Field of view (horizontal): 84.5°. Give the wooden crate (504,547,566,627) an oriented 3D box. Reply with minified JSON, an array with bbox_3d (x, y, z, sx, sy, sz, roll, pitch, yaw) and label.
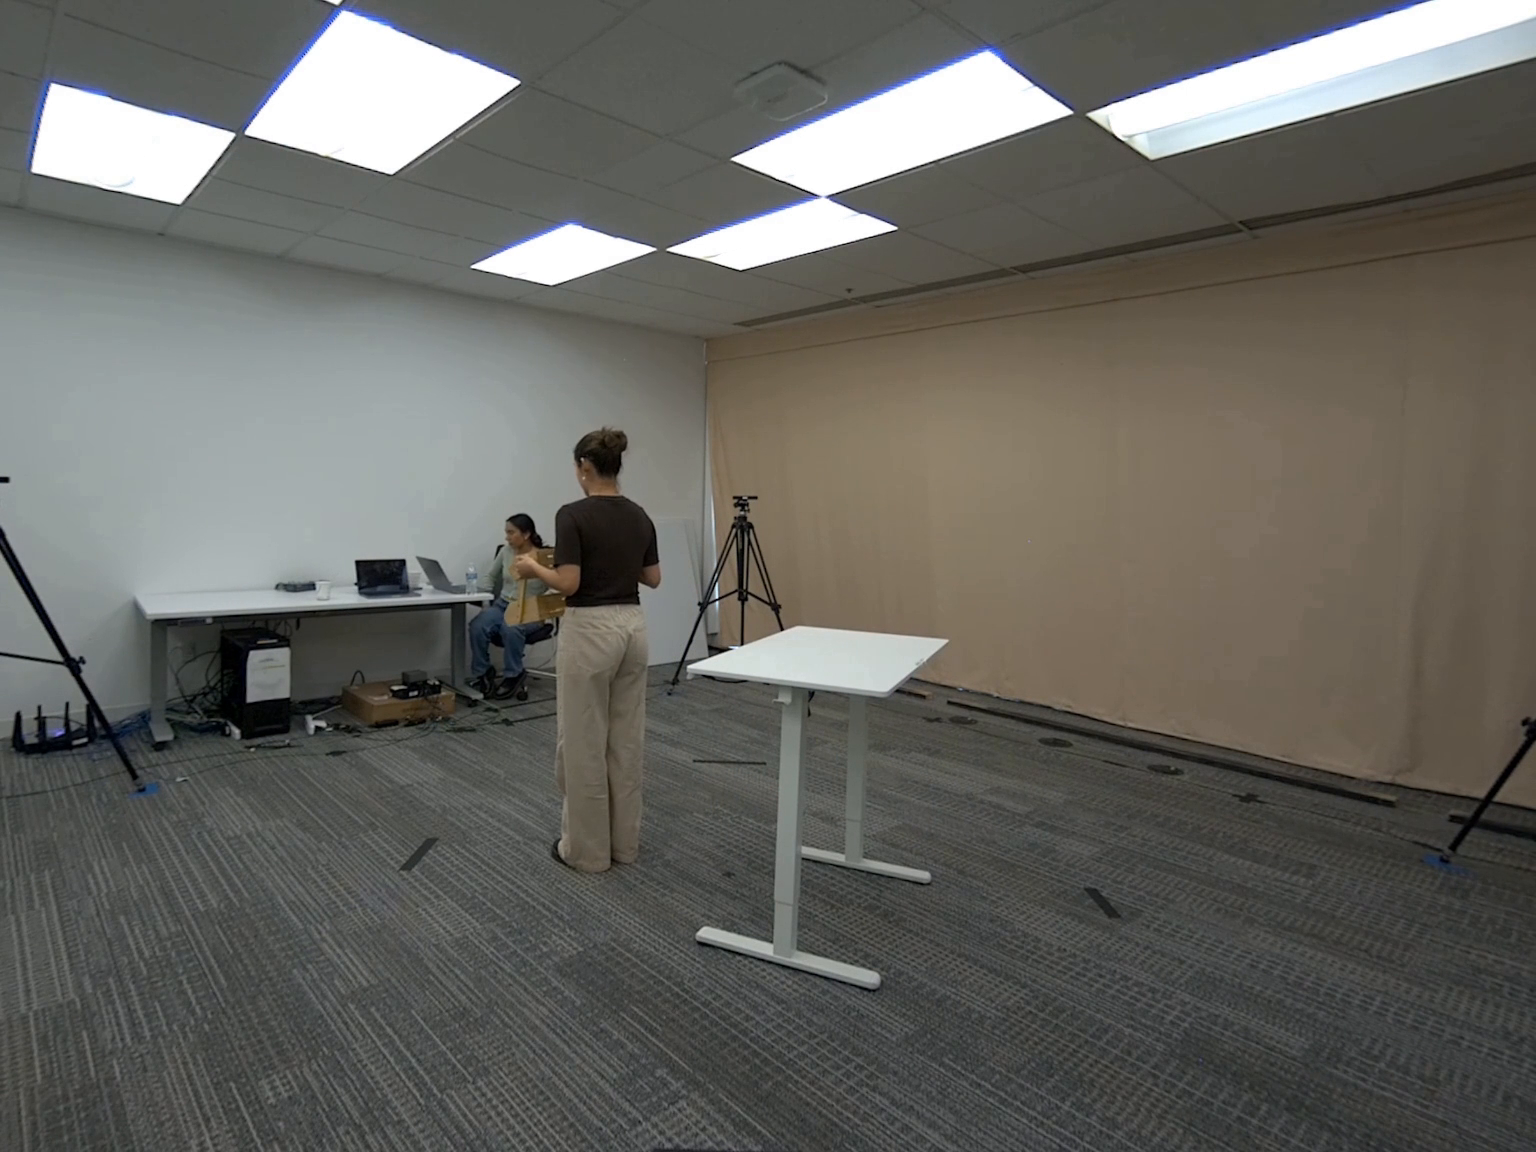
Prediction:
[{"bbox_3d":[-0.864,0.031,3.353,0.307,0.274,0.318,-12,-2,41],"label":"wooden crate"}]
